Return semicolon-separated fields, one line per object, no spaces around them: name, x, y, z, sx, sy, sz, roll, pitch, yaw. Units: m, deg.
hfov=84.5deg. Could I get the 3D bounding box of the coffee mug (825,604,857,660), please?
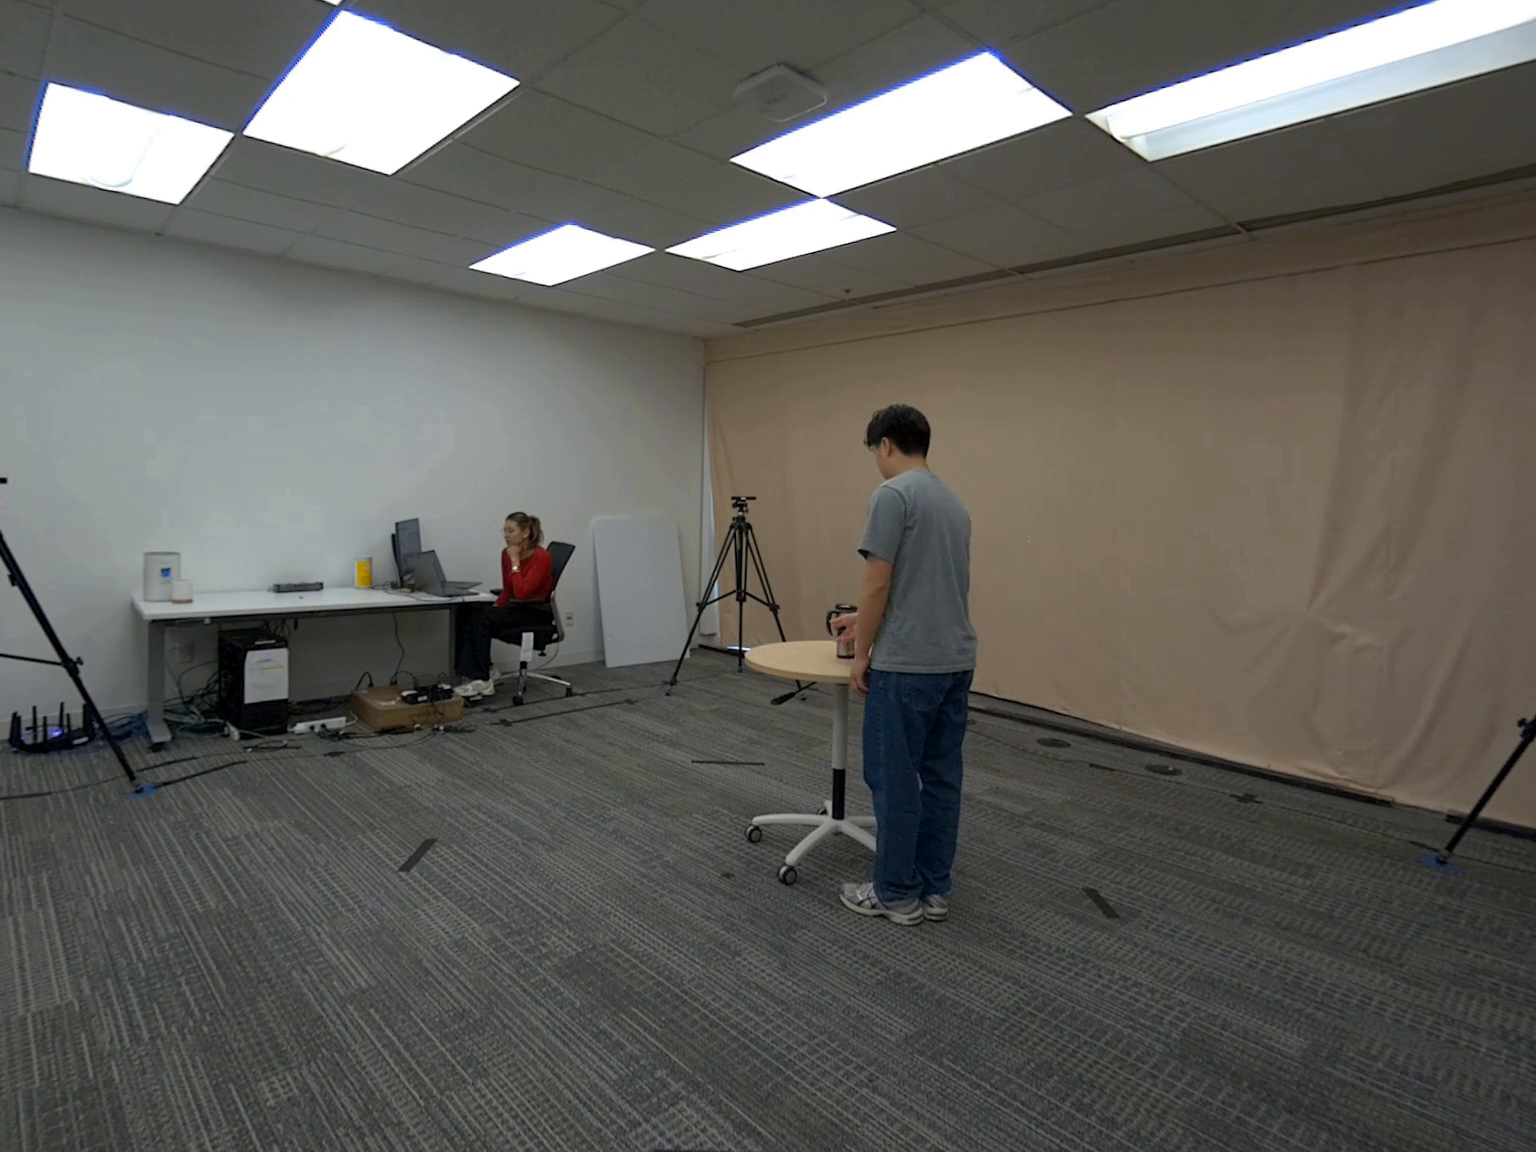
coffee mug;0.280;0.217;3.284;0.123;0.202;0.087;5;6;14
